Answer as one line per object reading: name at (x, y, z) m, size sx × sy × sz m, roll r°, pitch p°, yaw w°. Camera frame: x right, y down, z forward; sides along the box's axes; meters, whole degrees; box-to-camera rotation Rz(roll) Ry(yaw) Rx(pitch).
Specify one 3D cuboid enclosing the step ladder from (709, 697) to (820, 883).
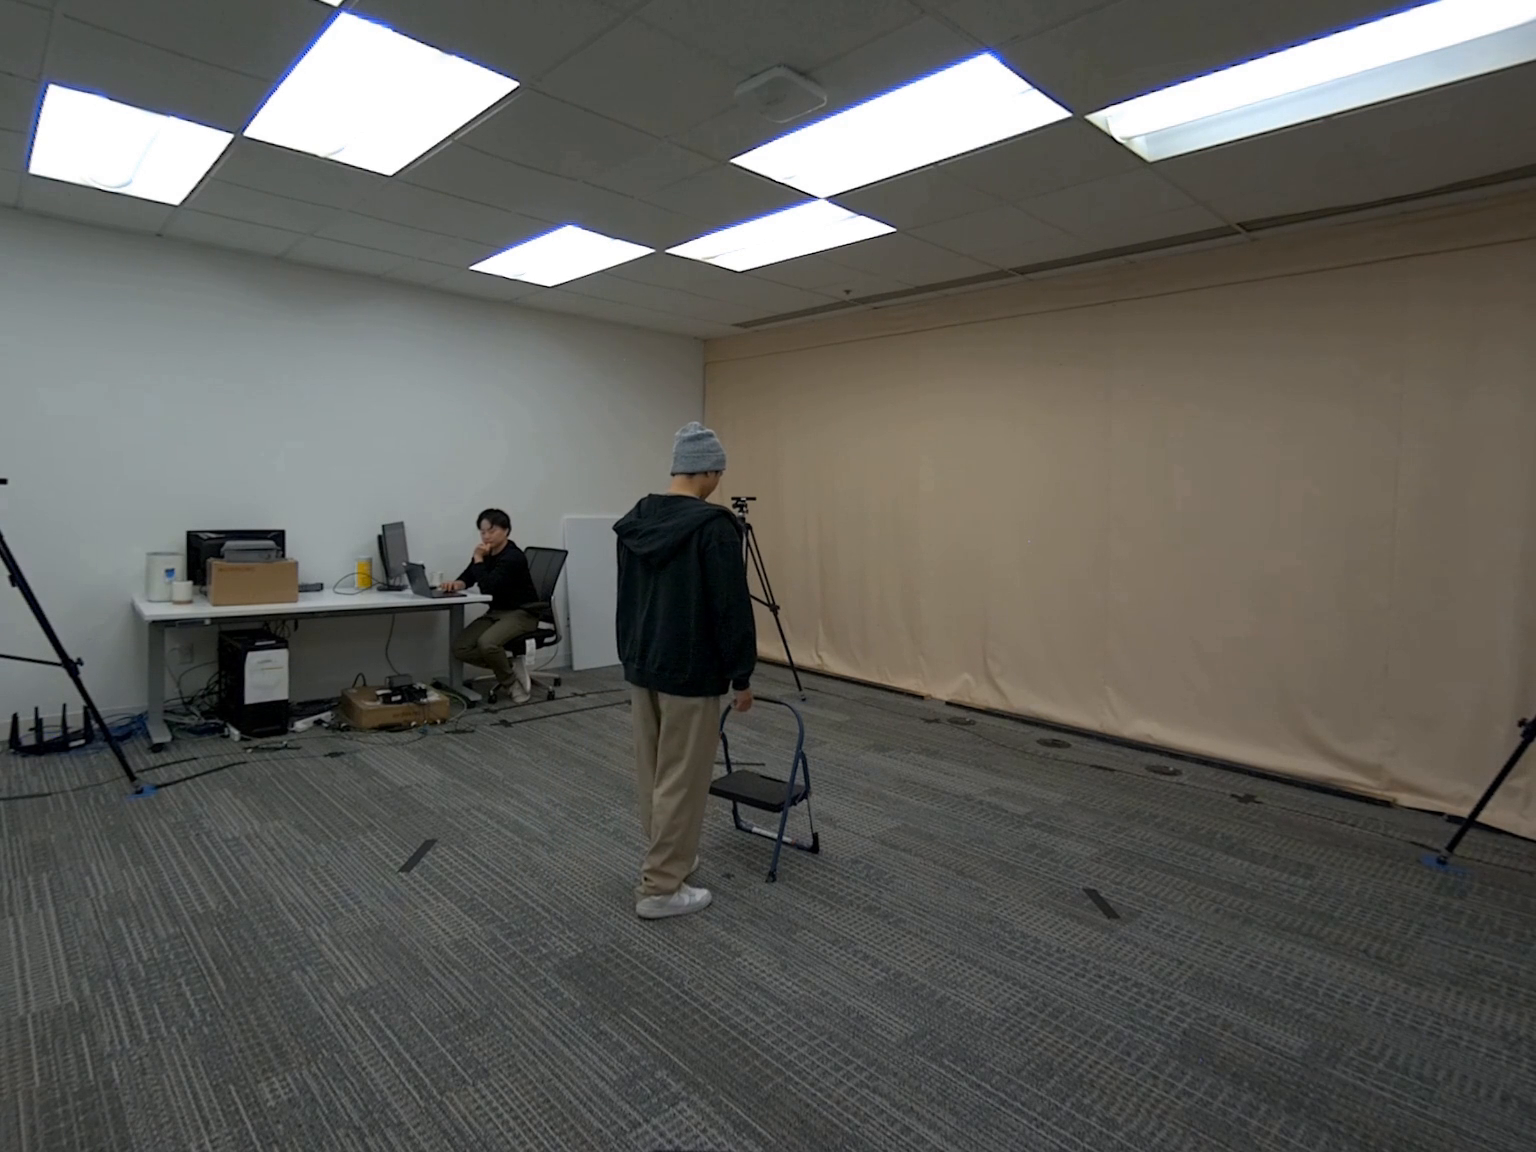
step ladder at (-0.056, 0.787, 3.305) m, size 0.441 × 0.604 × 0.342 m, roll 4°, pitch 4°, yaw 36°
